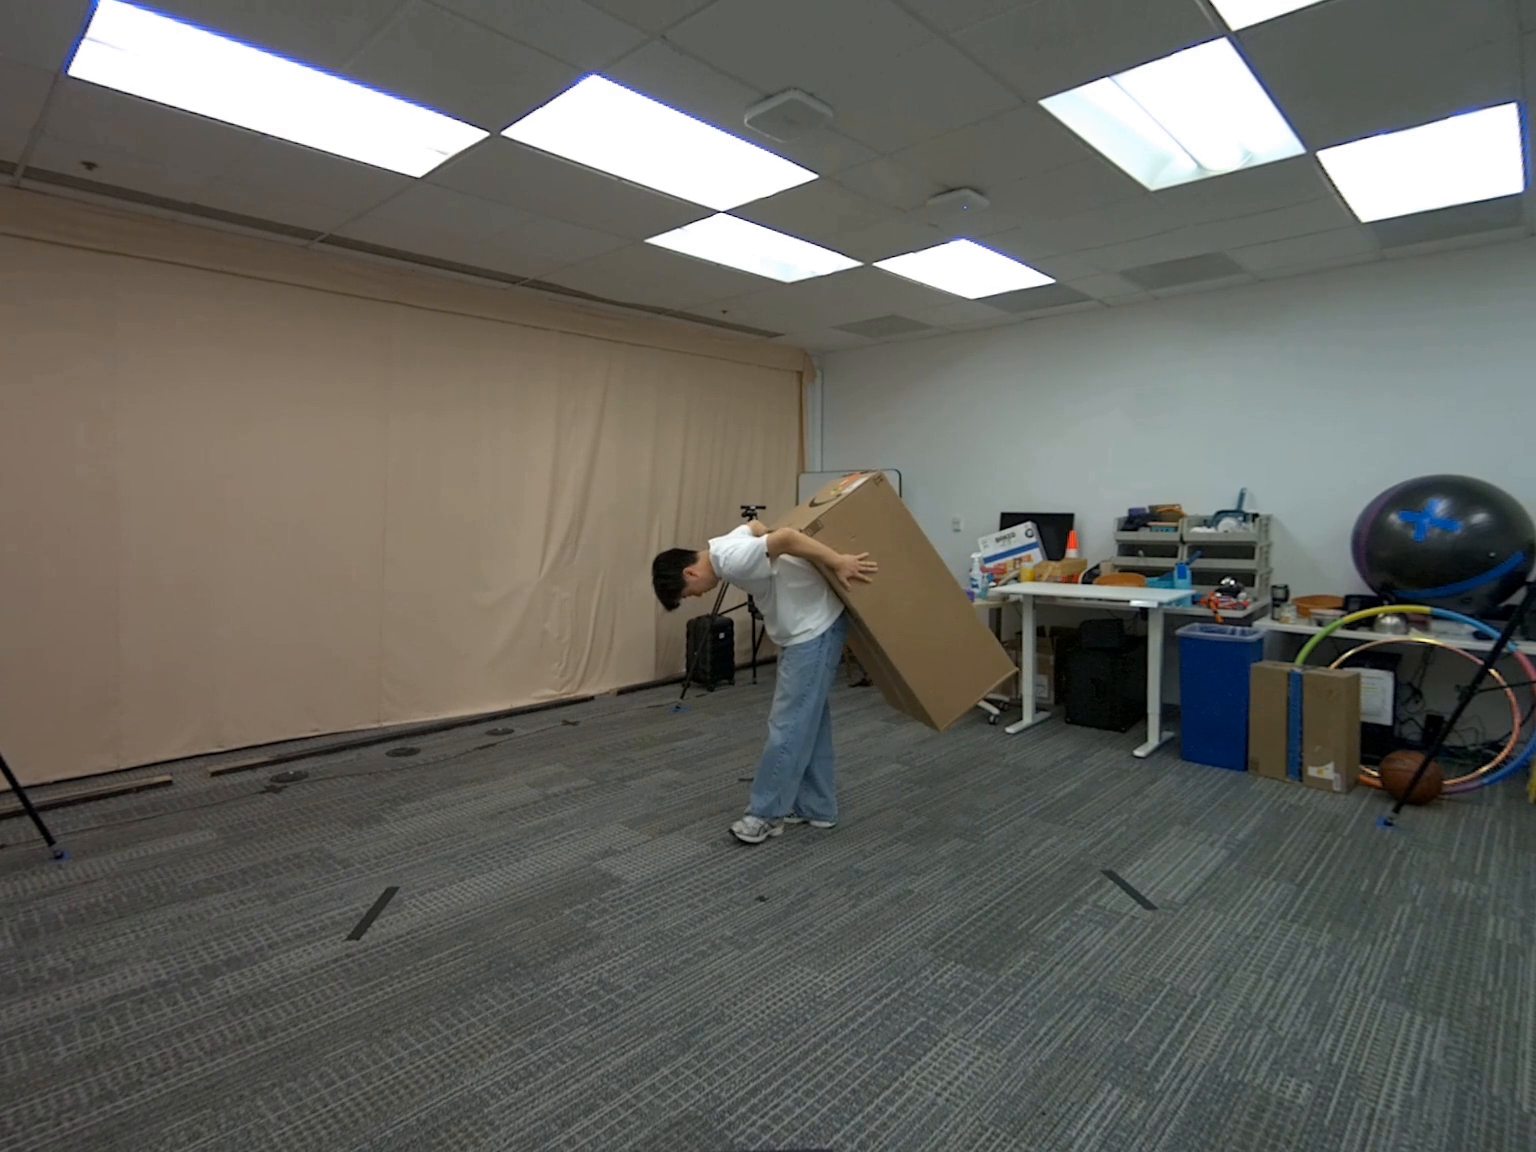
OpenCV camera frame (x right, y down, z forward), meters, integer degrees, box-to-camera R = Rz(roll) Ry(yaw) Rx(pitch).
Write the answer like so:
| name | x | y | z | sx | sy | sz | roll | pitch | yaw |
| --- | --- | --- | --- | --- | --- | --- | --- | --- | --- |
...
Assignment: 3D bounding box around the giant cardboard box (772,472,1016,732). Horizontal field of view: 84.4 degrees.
| name | x | y | z | sx | sy | sz | roll | pitch | yaw |
| --- | --- | --- | --- | --- | --- | --- | --- | --- | --- |
| giant cardboard box | 0.516 | 0.093 | 3.677 | 0.424 | 1.018 | 0.584 | -36 | 7 | -8 |
